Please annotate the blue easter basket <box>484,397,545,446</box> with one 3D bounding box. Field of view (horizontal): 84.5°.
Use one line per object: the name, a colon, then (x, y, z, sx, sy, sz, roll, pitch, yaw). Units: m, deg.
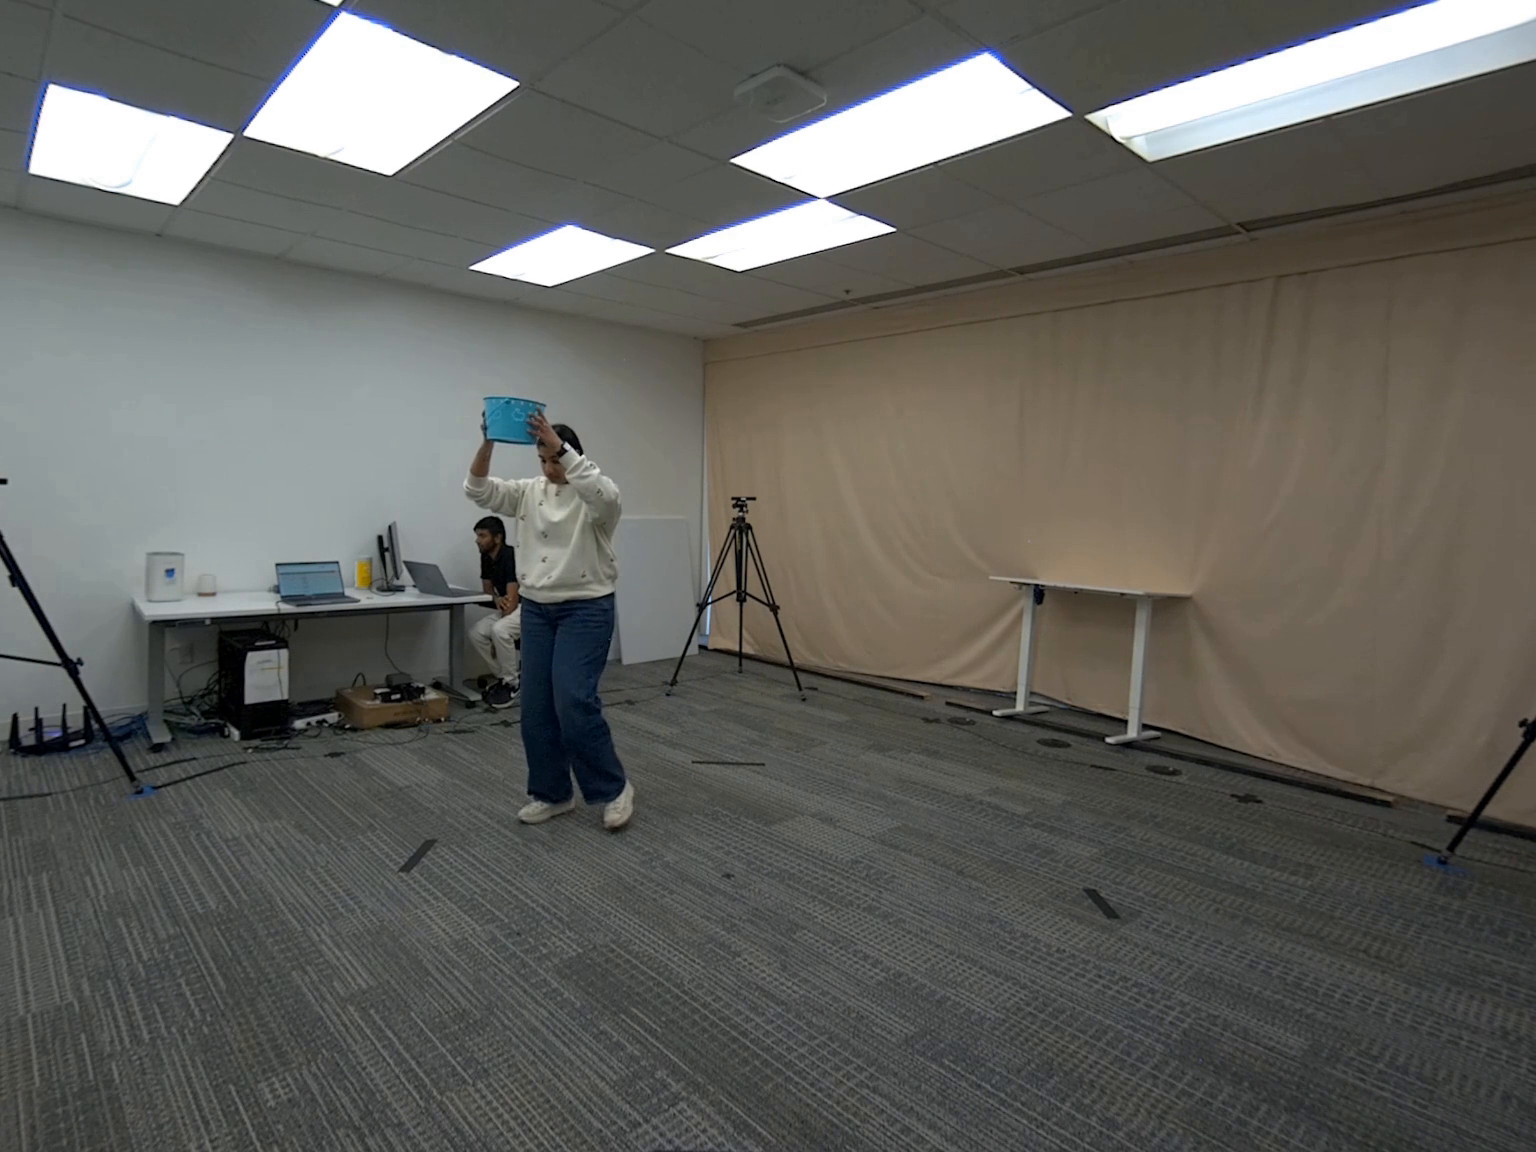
blue easter basket: (-0.985, -0.590, 3.187, 0.243, 0.156, 0.244, 5, 0, -1)
